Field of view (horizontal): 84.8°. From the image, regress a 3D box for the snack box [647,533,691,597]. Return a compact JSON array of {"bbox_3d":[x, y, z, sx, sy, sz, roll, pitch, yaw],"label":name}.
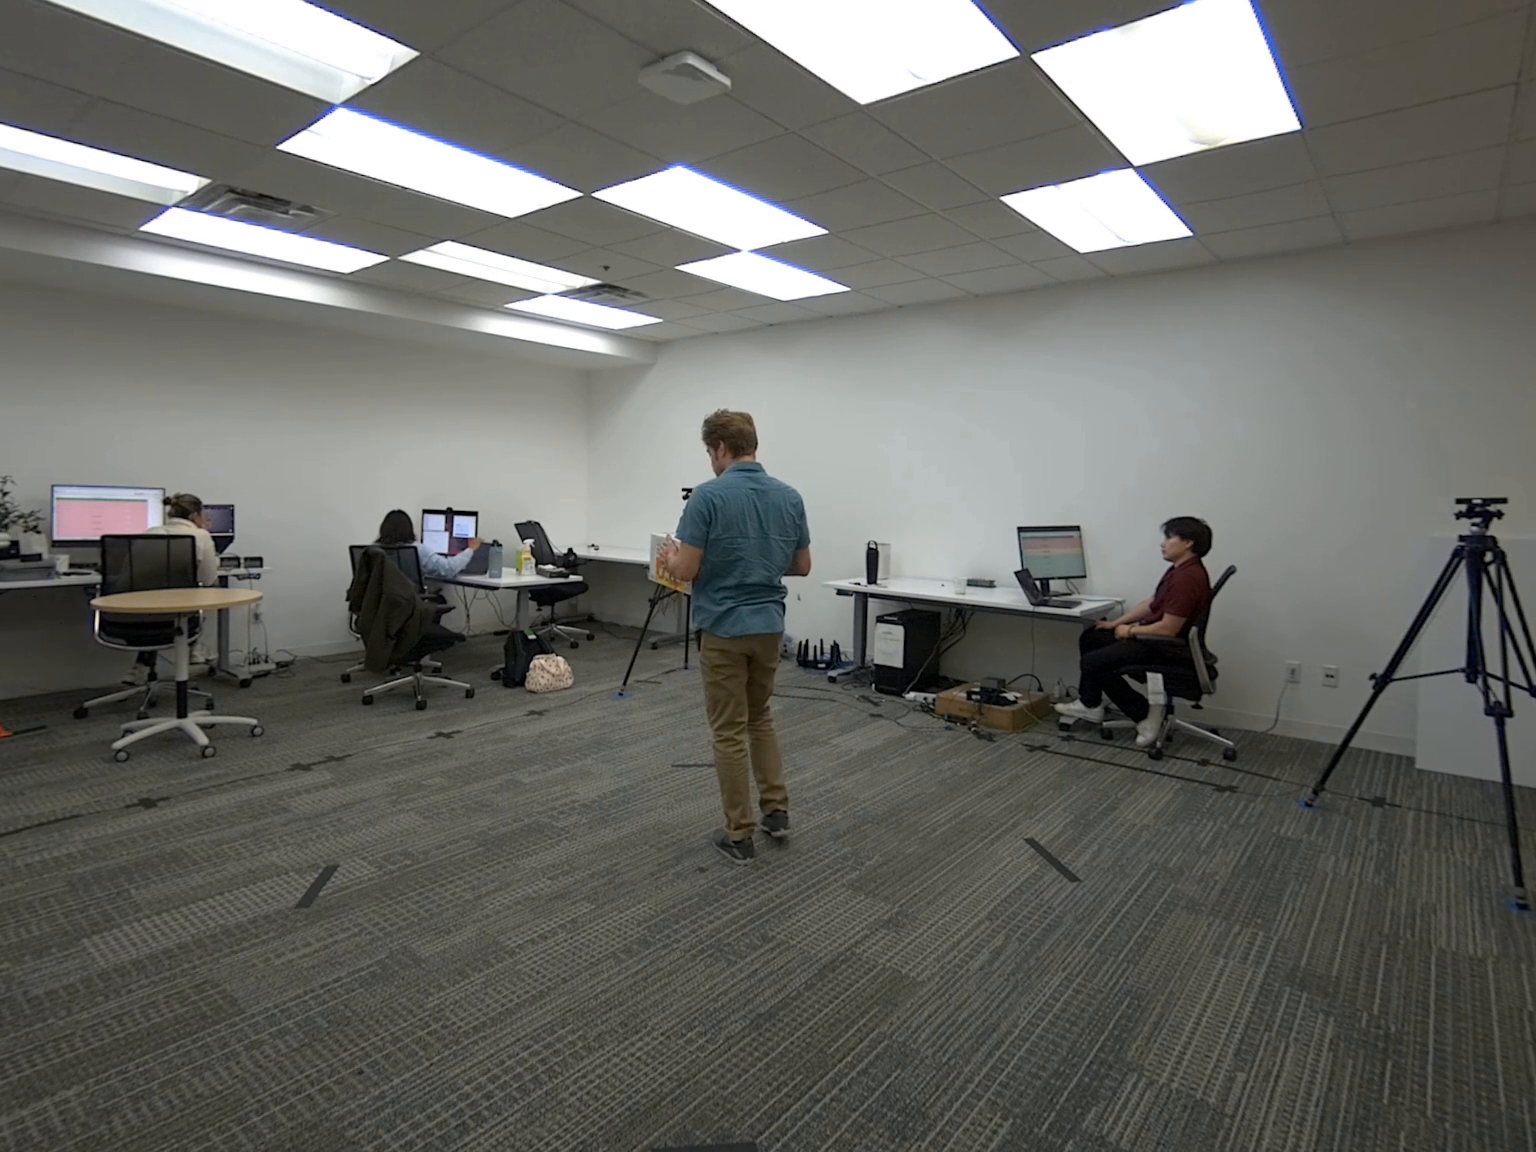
[{"bbox_3d":[-0.261,-0.059,3.517,0.331,0.204,0.418,-2,8,-30],"label":"snack box"}]
